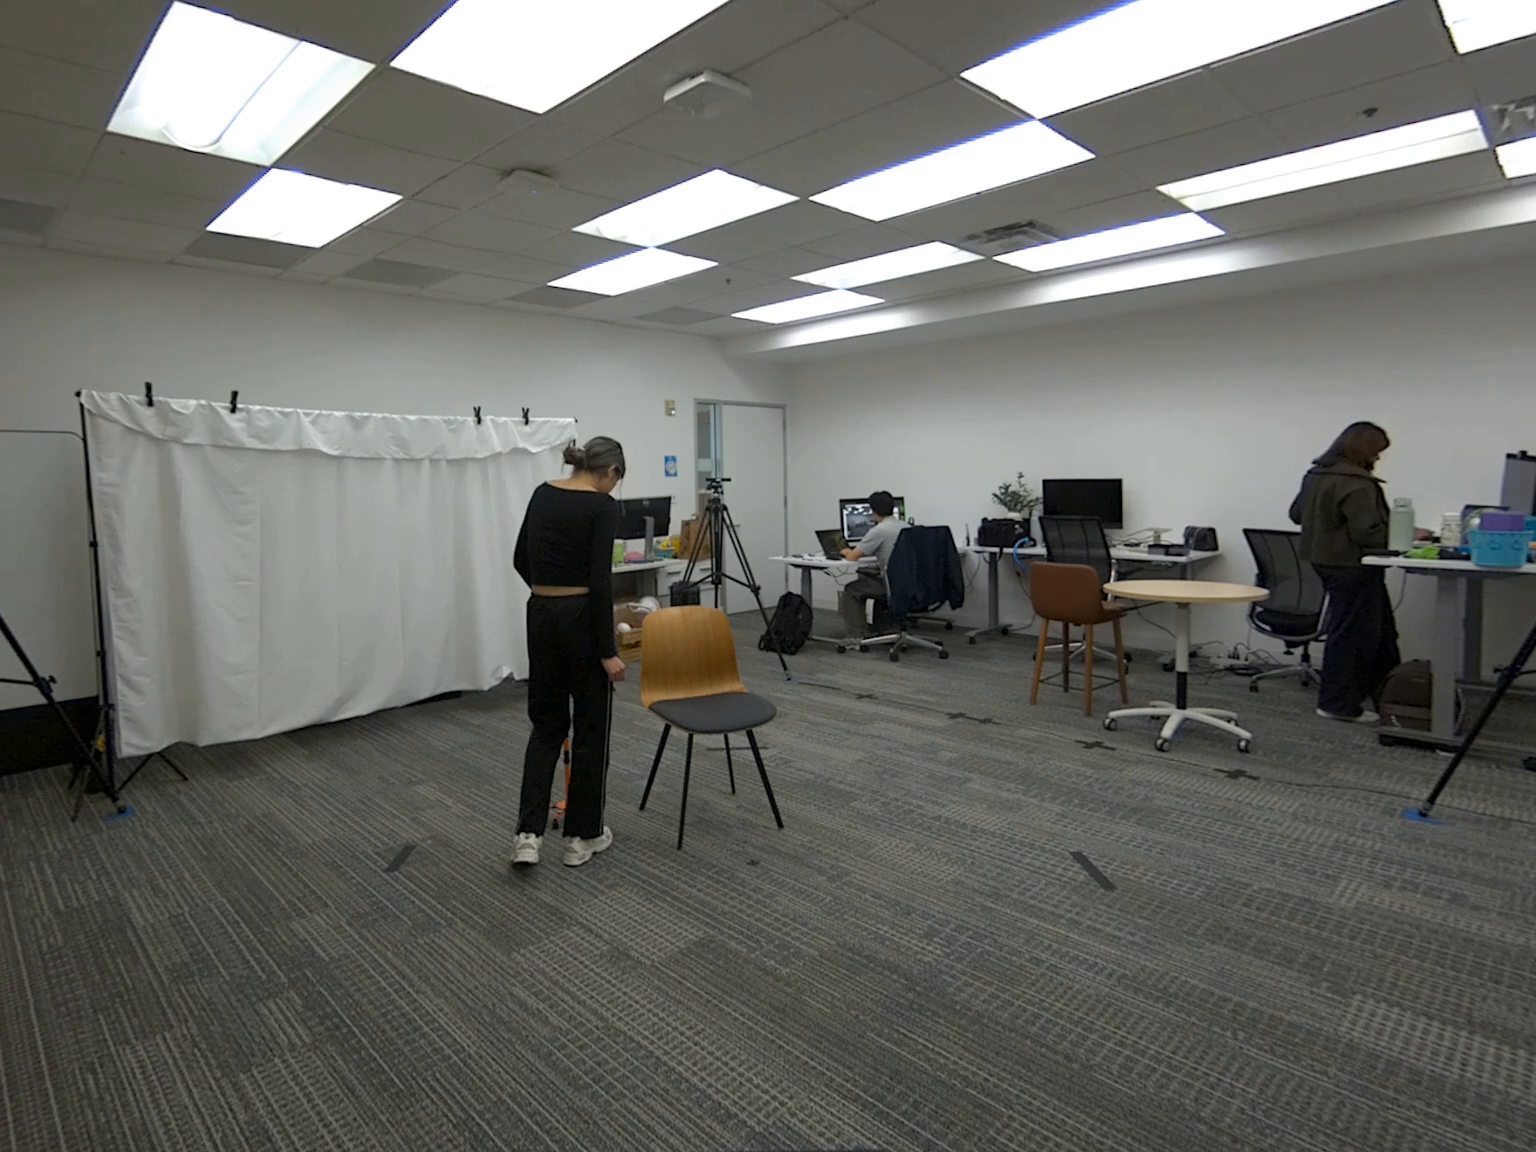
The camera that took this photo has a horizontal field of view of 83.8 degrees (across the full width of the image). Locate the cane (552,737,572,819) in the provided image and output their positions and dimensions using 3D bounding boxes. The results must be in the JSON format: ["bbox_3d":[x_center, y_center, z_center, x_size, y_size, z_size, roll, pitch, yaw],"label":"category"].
[{"bbox_3d":[-0.843,0.554,3.538,0.201,0.905,0.156,-2,4,-39],"label":"cane"}]
